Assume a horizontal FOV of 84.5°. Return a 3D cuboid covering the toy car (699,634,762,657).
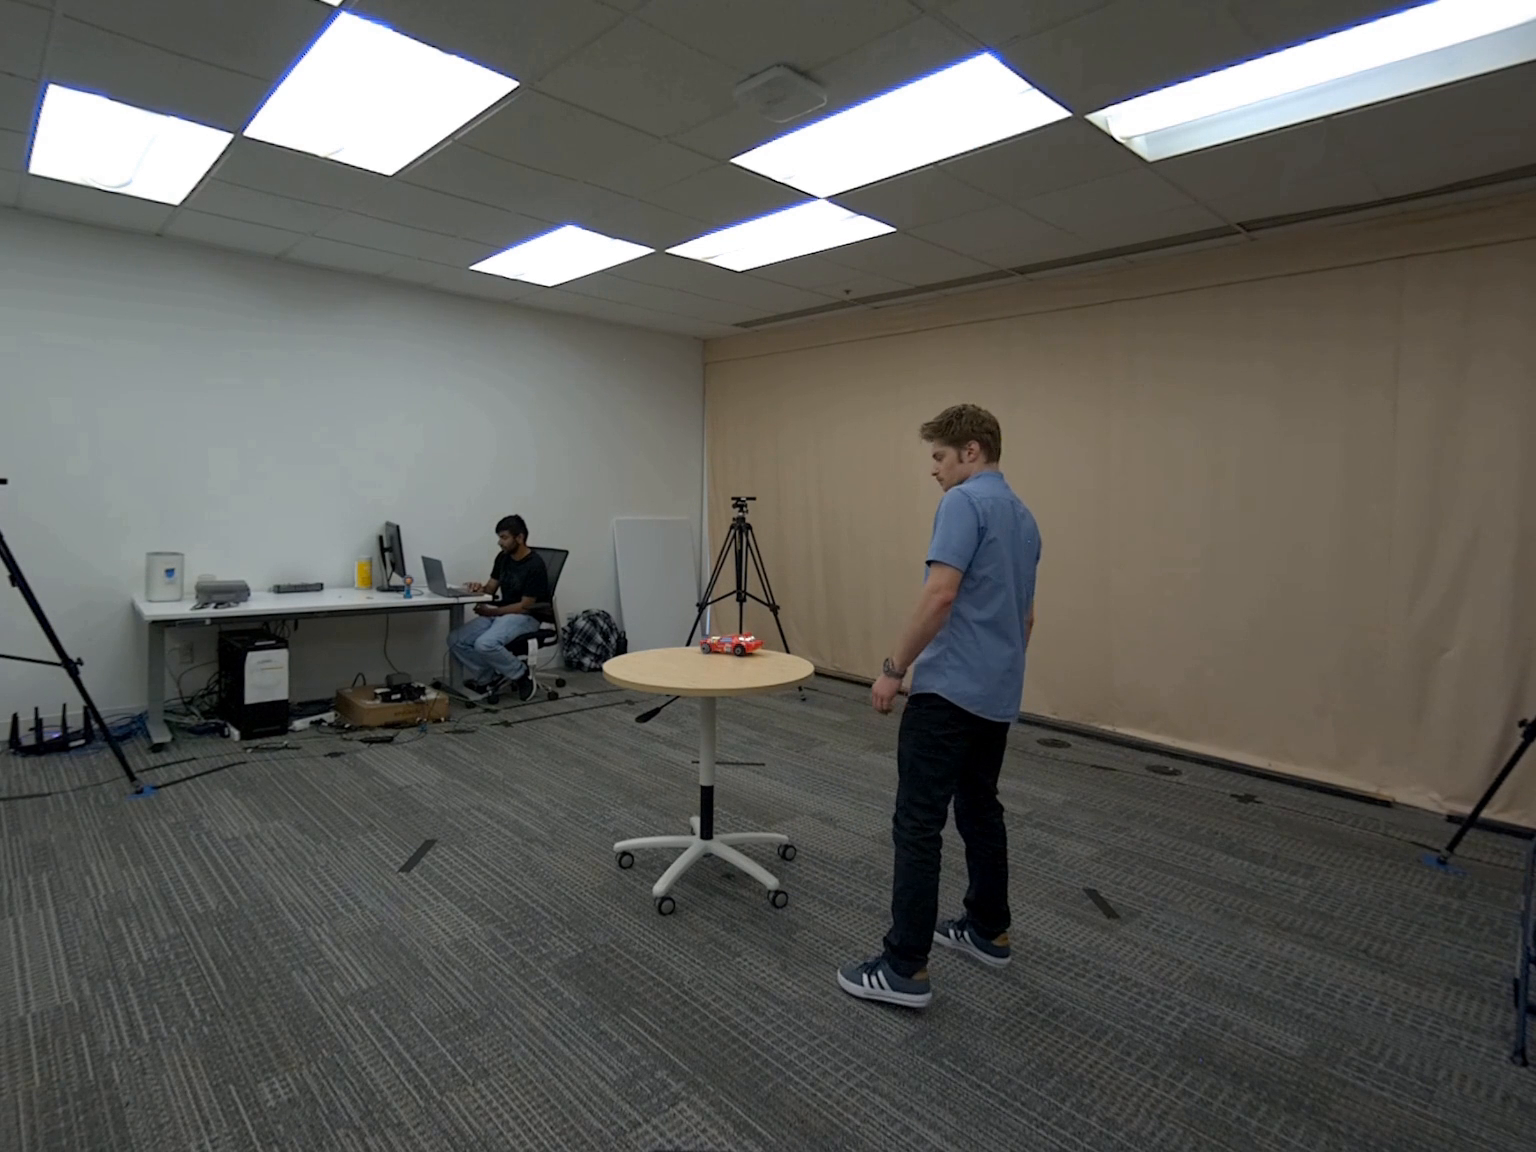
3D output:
[{"bbox_3d":[-0.147,0.275,3.290,0.258,0.083,0.128,-9,0,24],"label":"toy car"}]
